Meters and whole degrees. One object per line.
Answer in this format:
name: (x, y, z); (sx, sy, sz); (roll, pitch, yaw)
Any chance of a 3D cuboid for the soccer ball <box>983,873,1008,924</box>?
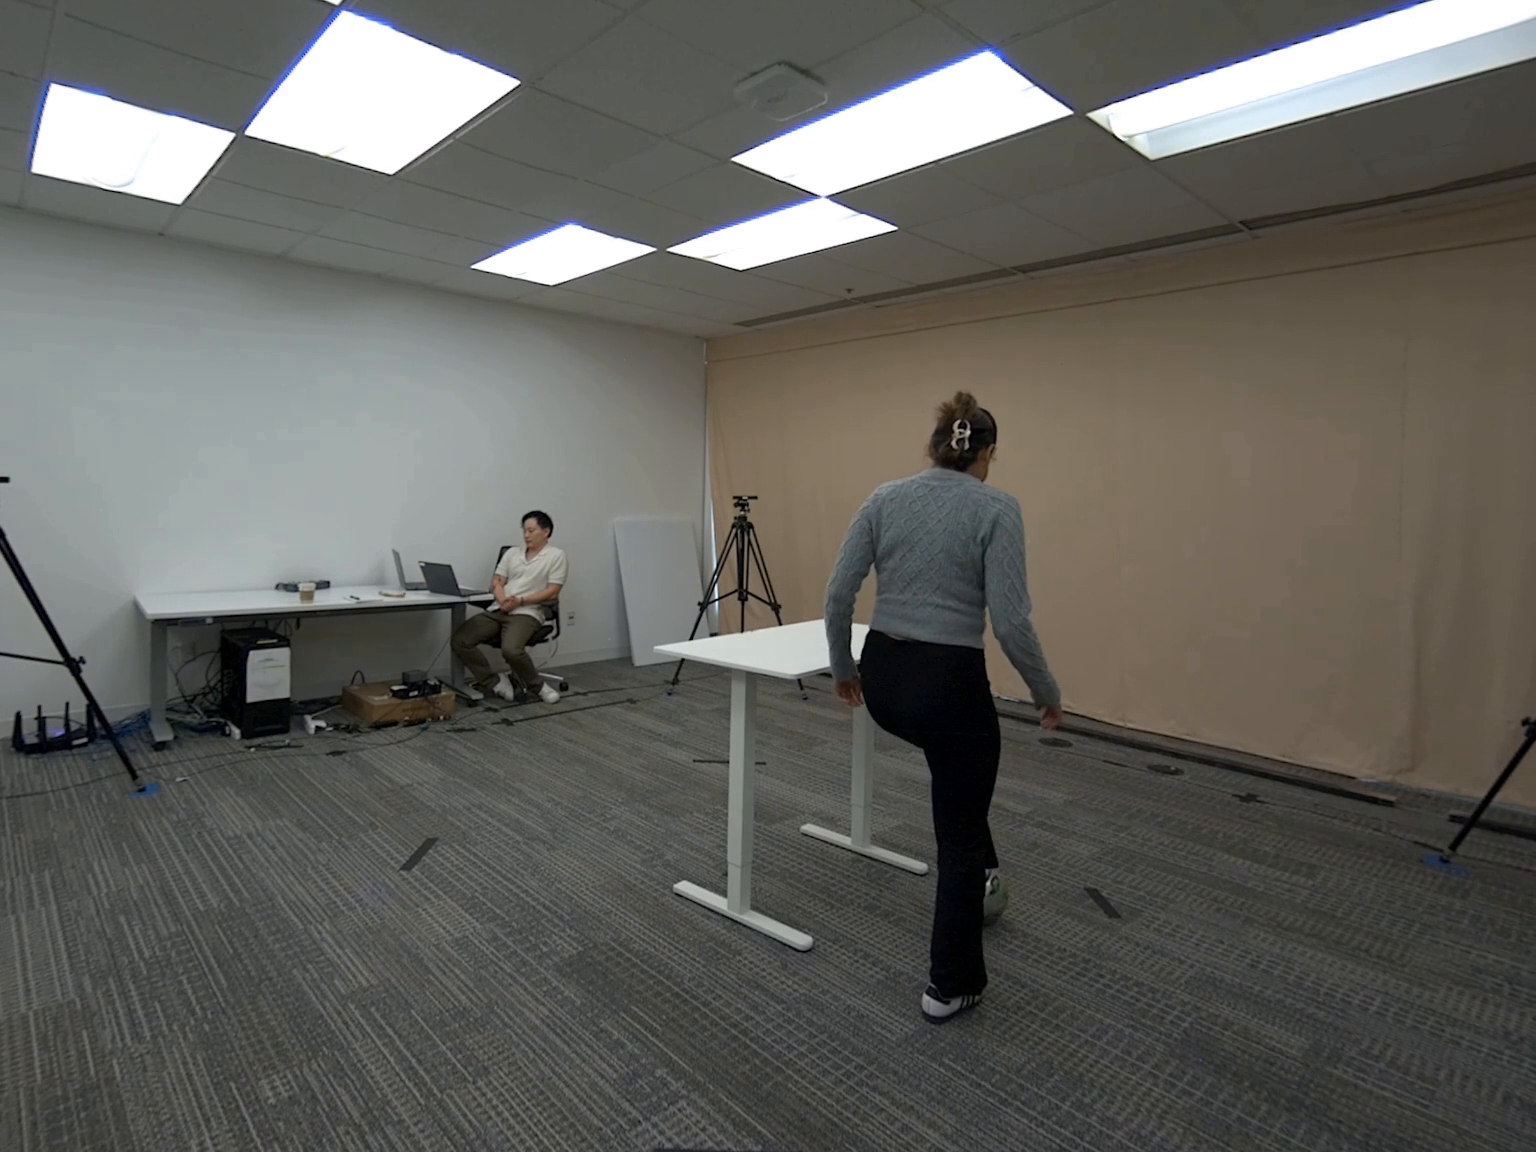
soccer ball: (0.698, 1.062, 2.804); (0.187, 0.187, 0.188); (1, 4, -1)
